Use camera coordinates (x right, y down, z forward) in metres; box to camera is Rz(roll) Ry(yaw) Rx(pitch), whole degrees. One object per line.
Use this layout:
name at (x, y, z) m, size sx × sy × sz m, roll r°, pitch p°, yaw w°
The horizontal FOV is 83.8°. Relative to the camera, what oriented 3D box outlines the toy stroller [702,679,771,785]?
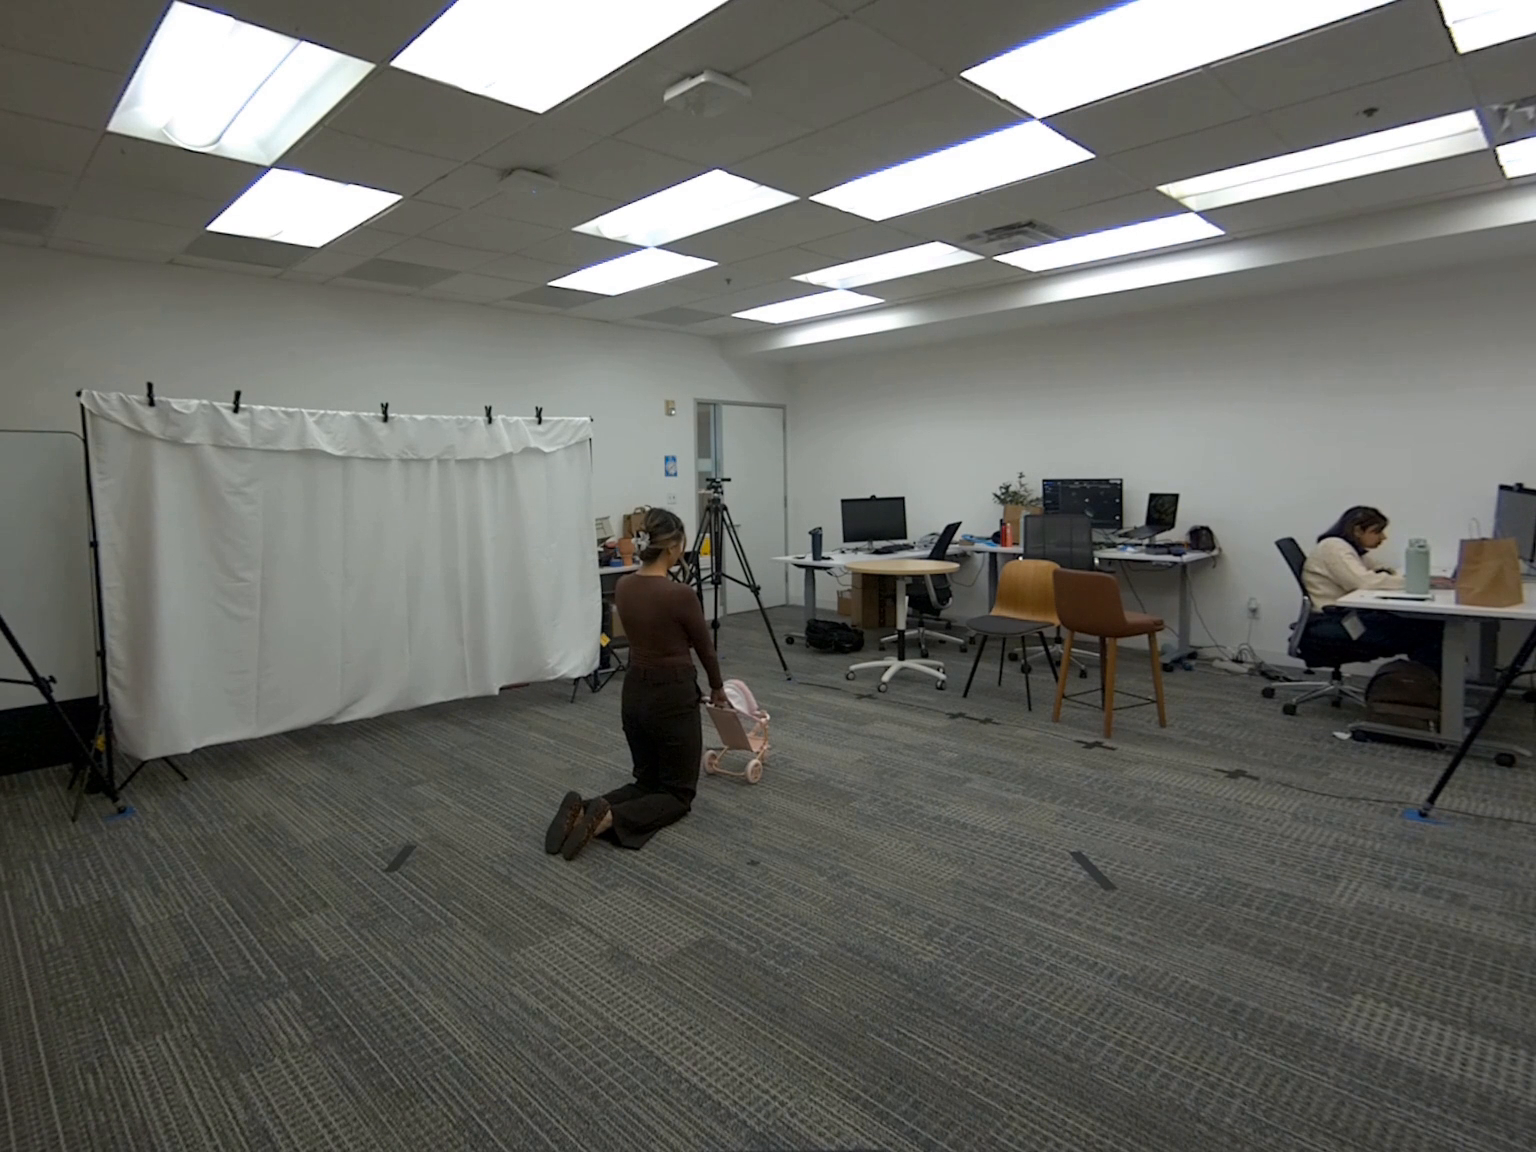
toy stroller at (-0.136, 0.717, 4.029) m, size 0.290 × 0.525 × 0.337 m, roll 3°, pitch 23°, yaw 39°
